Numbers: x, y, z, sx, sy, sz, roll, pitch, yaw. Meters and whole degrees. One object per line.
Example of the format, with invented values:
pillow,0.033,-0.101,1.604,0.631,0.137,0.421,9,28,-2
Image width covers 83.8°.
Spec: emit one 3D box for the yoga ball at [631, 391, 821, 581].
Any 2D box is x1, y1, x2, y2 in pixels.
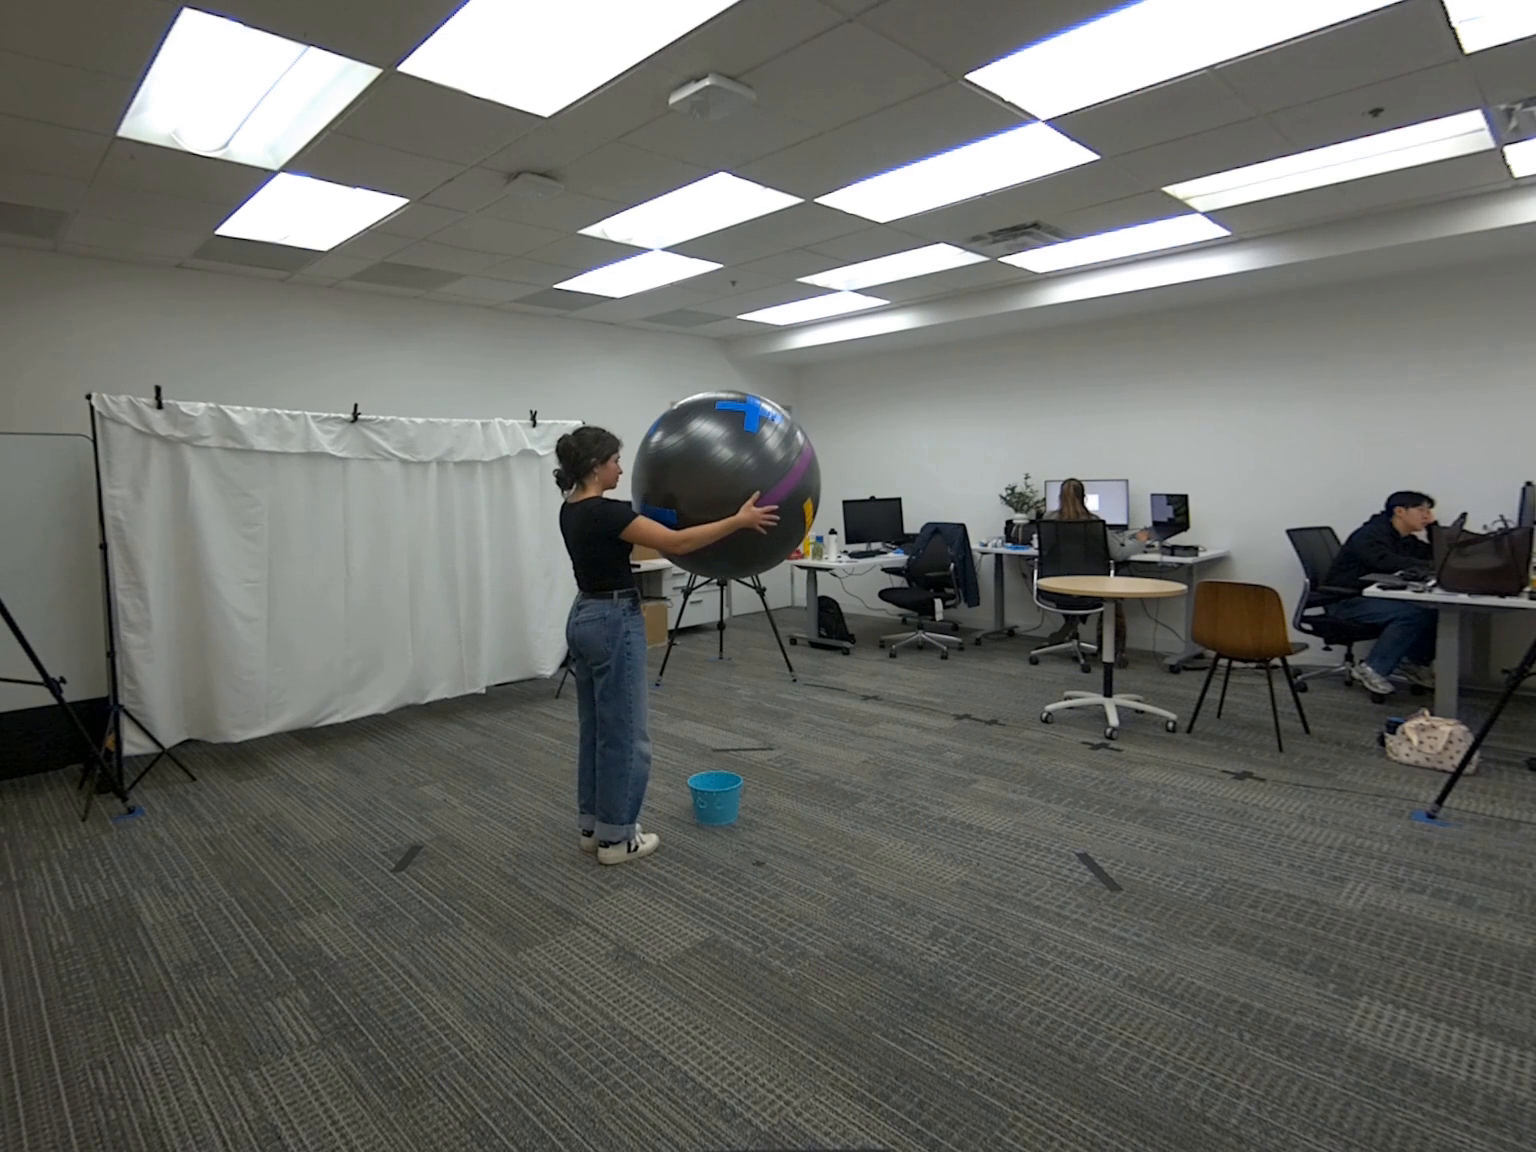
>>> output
yoga ball,-0.172,-0.354,3.426,0.757,0.755,0.762,-1,5,-2
